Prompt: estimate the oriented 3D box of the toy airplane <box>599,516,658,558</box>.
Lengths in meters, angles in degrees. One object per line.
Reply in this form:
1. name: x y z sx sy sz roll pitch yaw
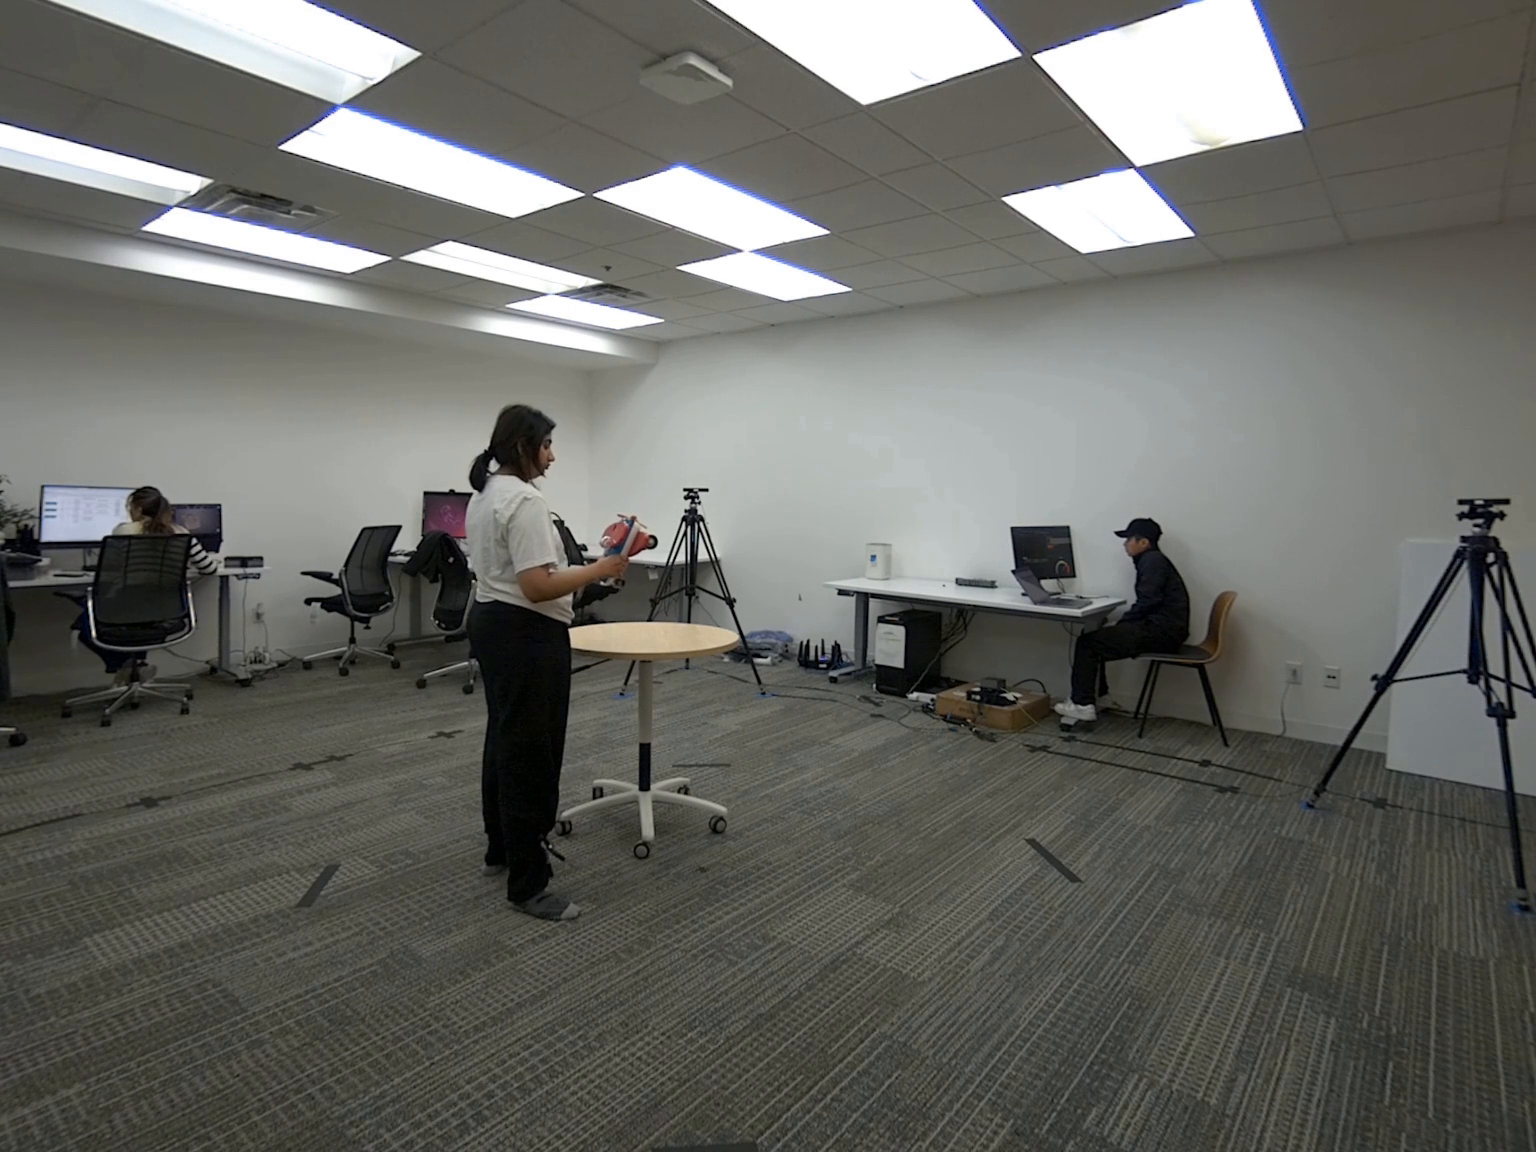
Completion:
1. toy airplane: -0.514 -0.086 2.983 0.152 0.263 0.254 42 -47 -21
